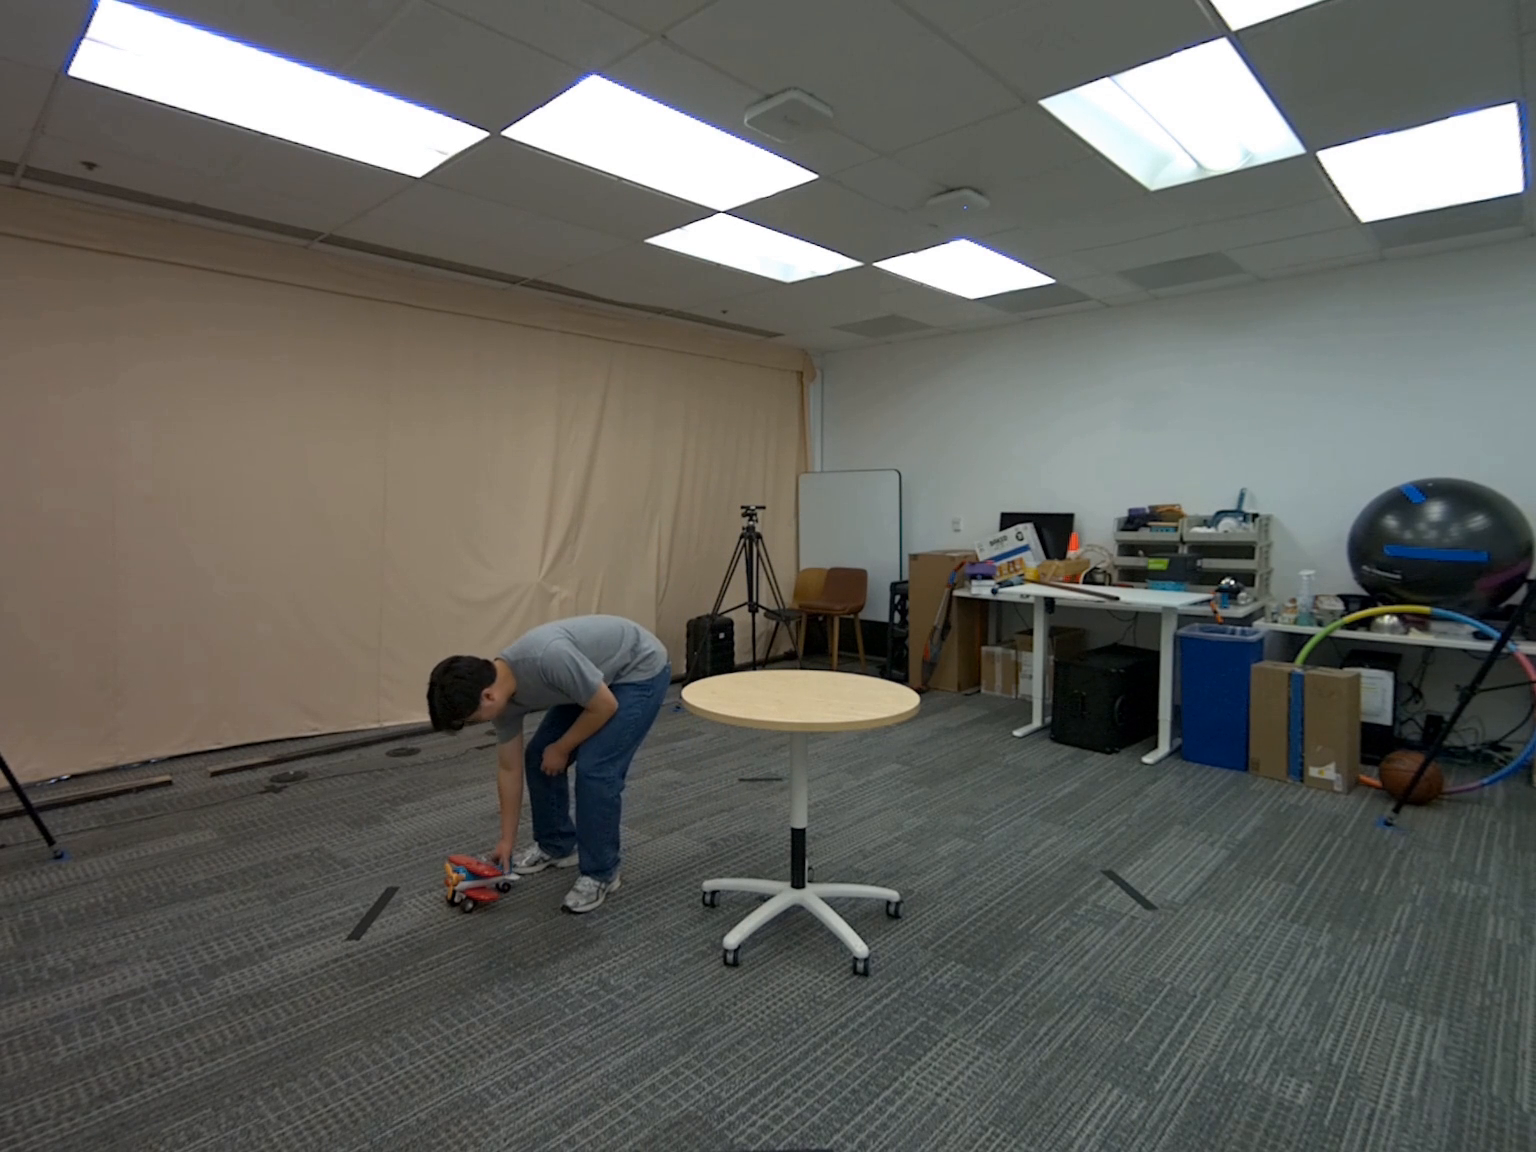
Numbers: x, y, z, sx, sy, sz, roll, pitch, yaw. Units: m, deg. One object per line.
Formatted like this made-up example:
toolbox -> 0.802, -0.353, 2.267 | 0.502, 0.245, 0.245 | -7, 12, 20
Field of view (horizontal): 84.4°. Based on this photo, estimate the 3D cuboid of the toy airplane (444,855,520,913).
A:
toy airplane -> -1.037, 1.083, 2.993 | 0.254, 0.156, 0.257 | 1, 4, 9
